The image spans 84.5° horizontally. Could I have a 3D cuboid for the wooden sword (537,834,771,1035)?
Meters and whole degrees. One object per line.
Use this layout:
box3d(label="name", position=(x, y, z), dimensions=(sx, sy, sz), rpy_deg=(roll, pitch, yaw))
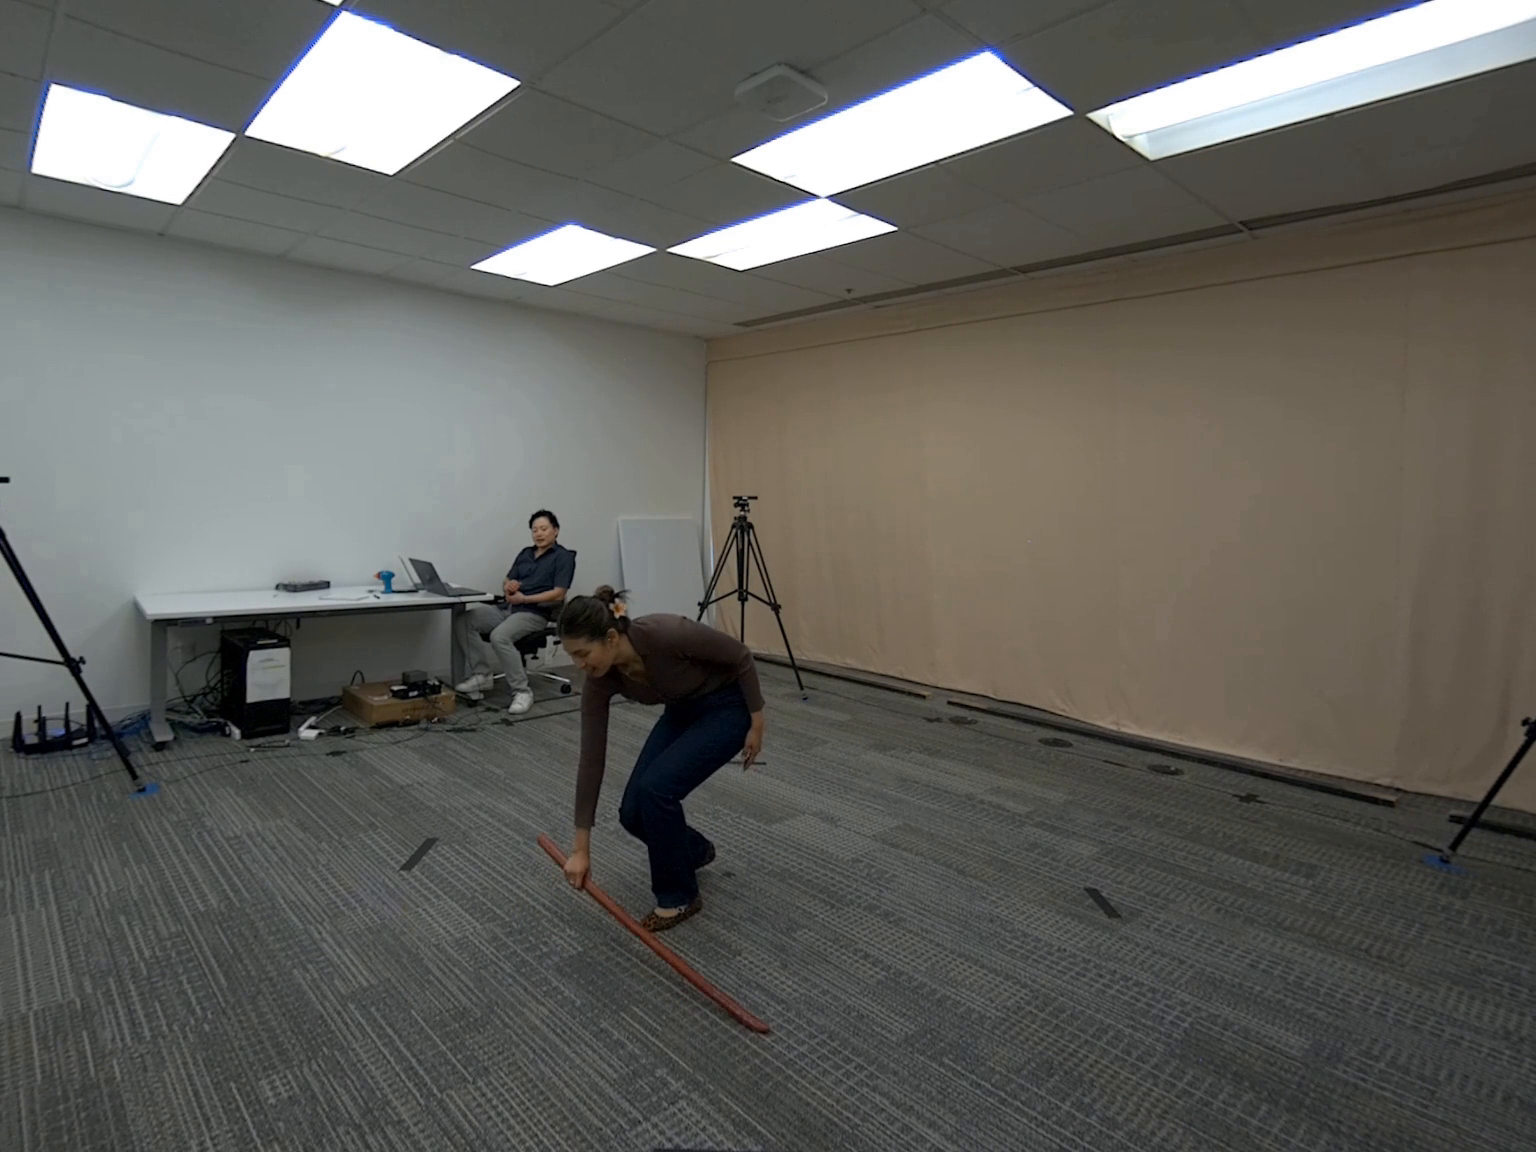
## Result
box3d(label="wooden sword", position=(-0.390, 1.044, 2.505), dimensions=(1.055, 0.023, 0.051), rpy_deg=(20, 43, 38))
